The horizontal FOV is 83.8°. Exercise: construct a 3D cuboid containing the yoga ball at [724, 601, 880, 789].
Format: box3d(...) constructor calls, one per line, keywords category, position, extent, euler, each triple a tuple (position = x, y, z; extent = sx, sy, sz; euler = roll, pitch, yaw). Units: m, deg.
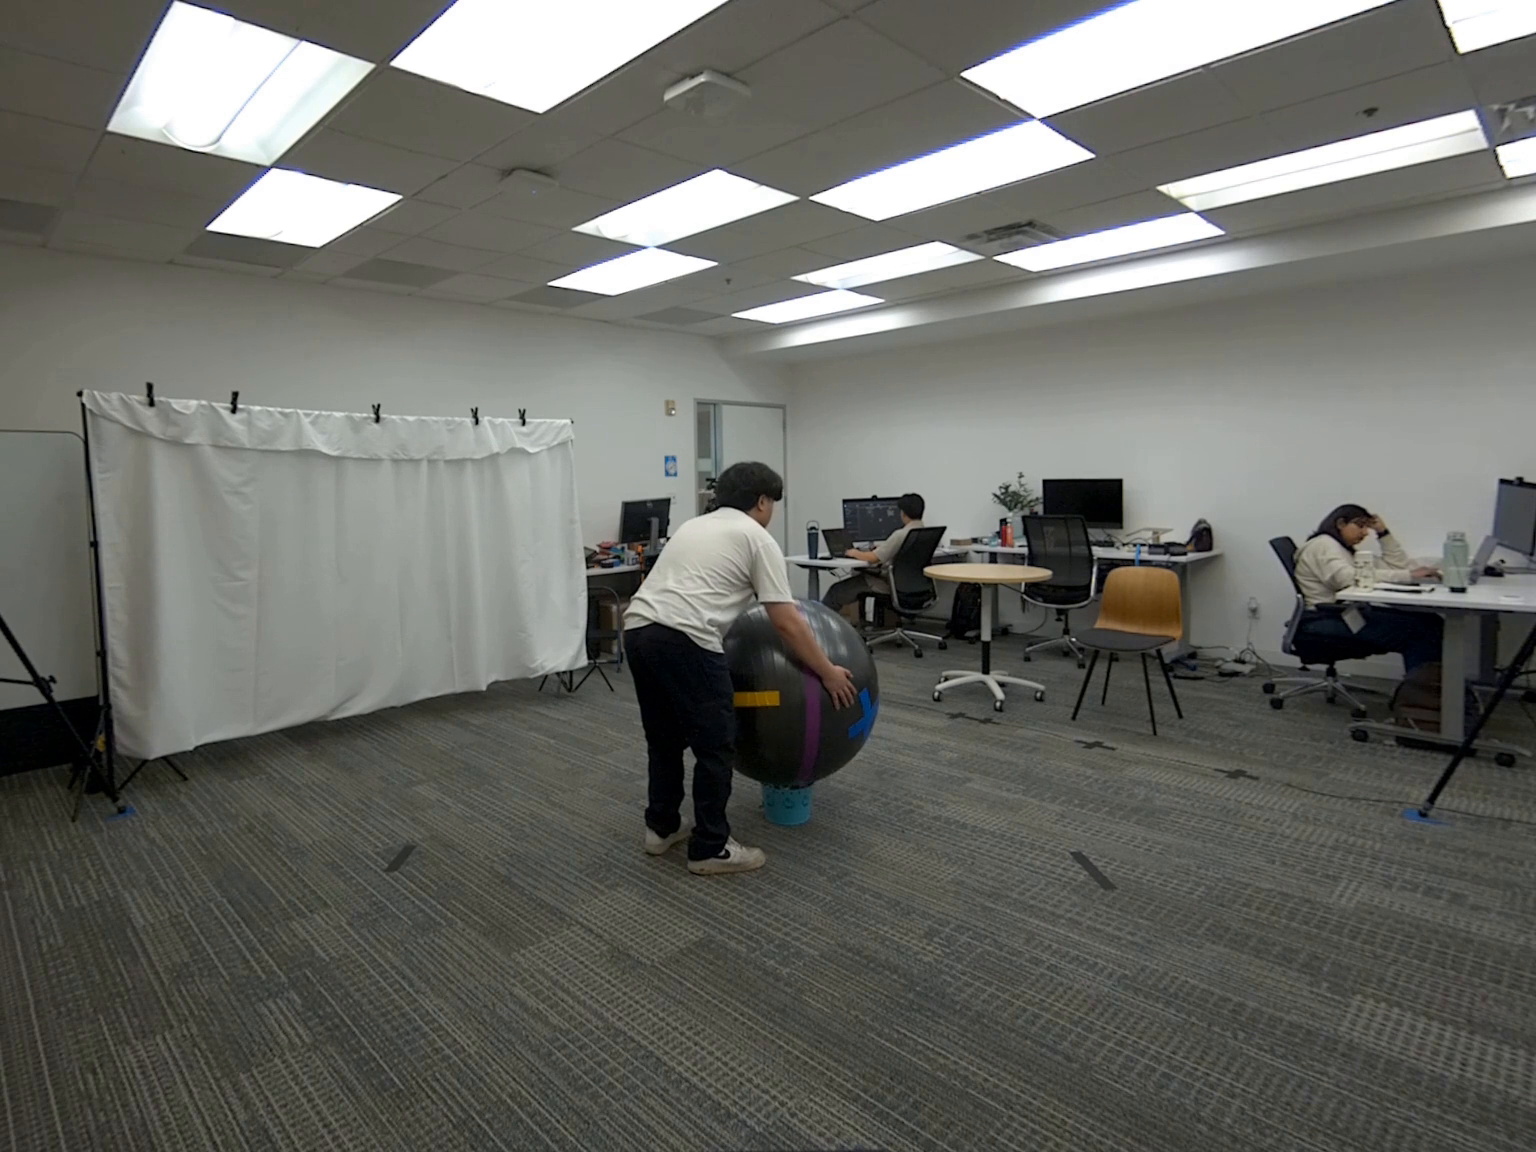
box3d(category="yoga ball", position=(0.073, 0.463, 3.497), extent=(0.757, 0.755, 0.762), euler=(-1, 5, -2))
